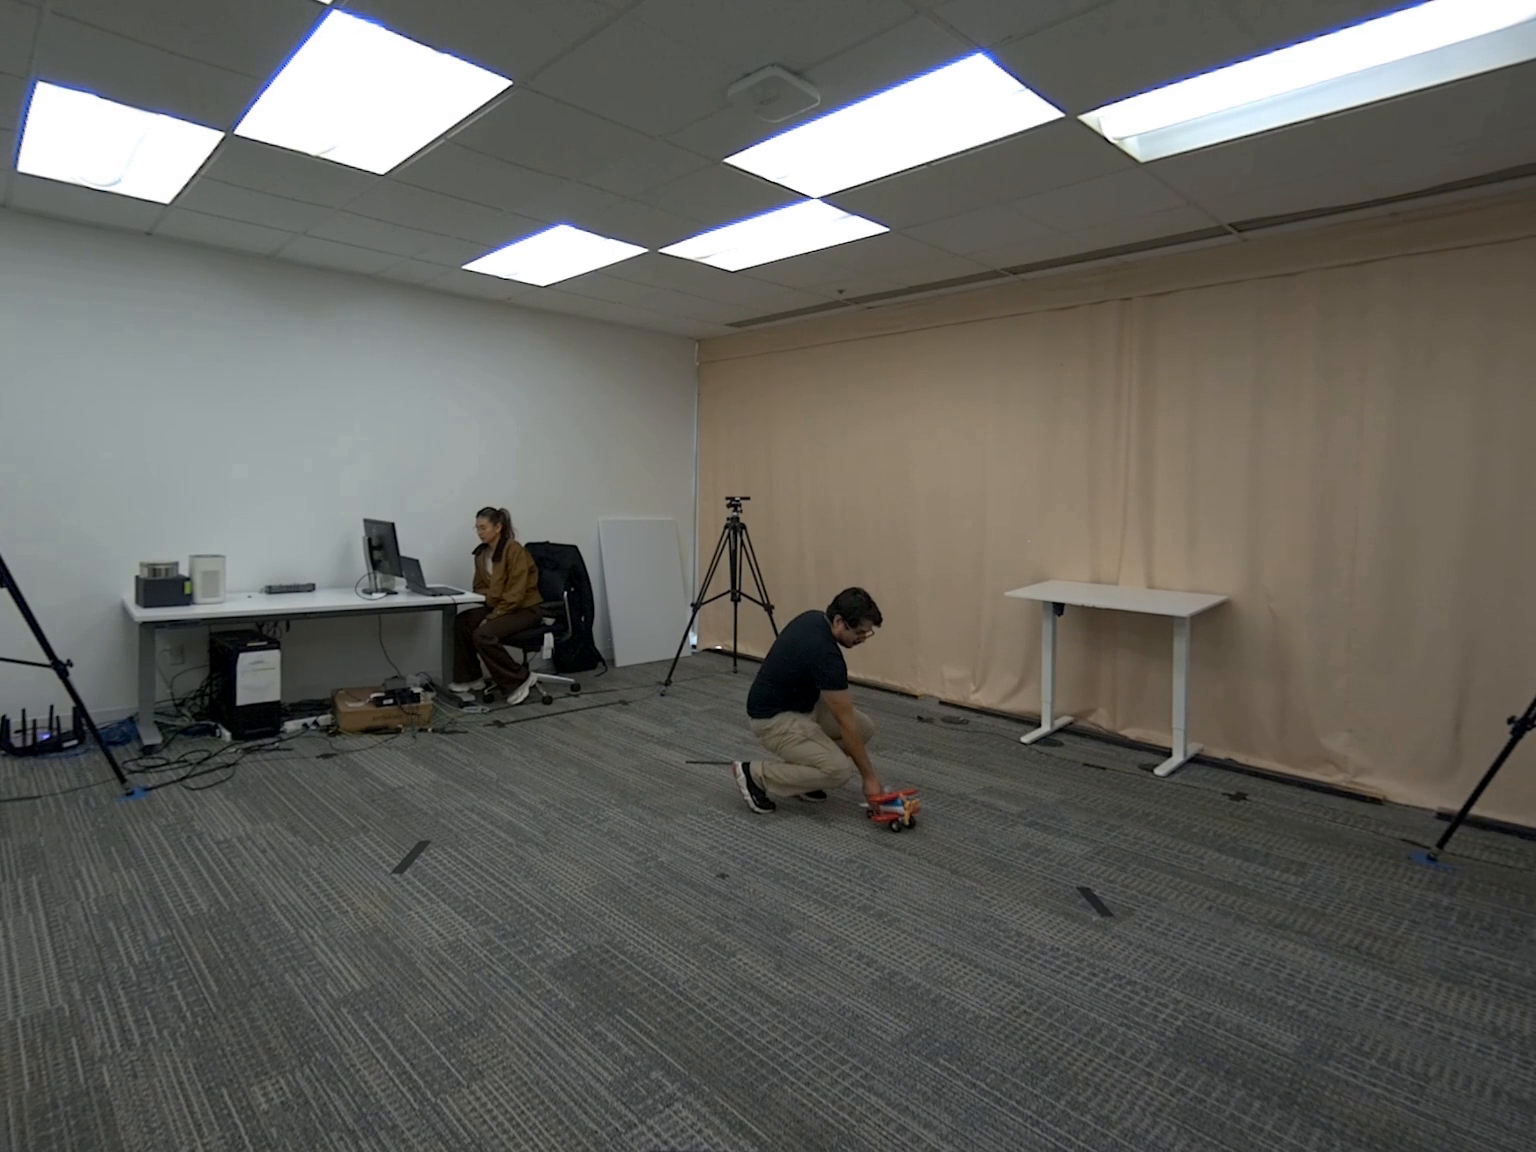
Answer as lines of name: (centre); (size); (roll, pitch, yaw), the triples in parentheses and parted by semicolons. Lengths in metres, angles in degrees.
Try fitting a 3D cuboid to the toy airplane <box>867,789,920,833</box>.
toy airplane: (0.503, 1.000, 3.644); (0.264, 0.156, 0.247); (4, 6, 24)
